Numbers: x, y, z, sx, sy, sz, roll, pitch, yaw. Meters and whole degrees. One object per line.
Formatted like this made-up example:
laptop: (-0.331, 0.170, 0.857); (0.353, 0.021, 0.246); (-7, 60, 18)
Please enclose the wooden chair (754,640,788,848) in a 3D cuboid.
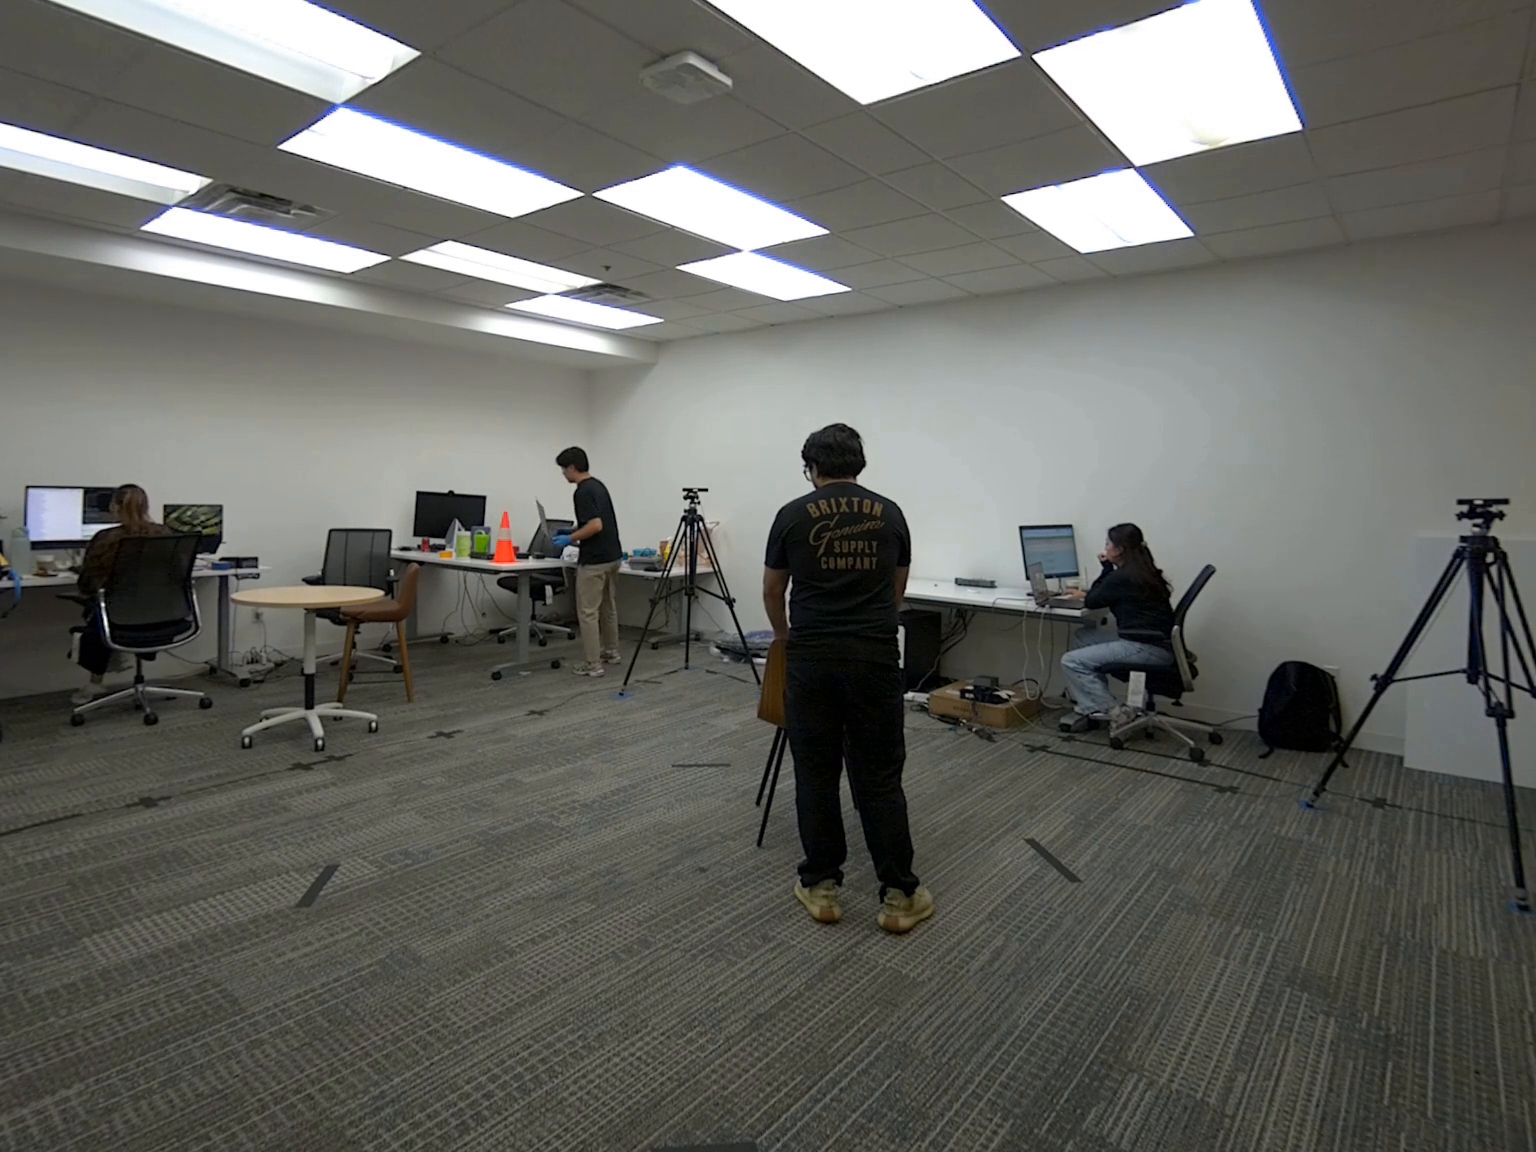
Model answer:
wooden chair: (0.167, 0.606, 3.510); (0.479, 0.871, 0.526); (1, 8, 0)
